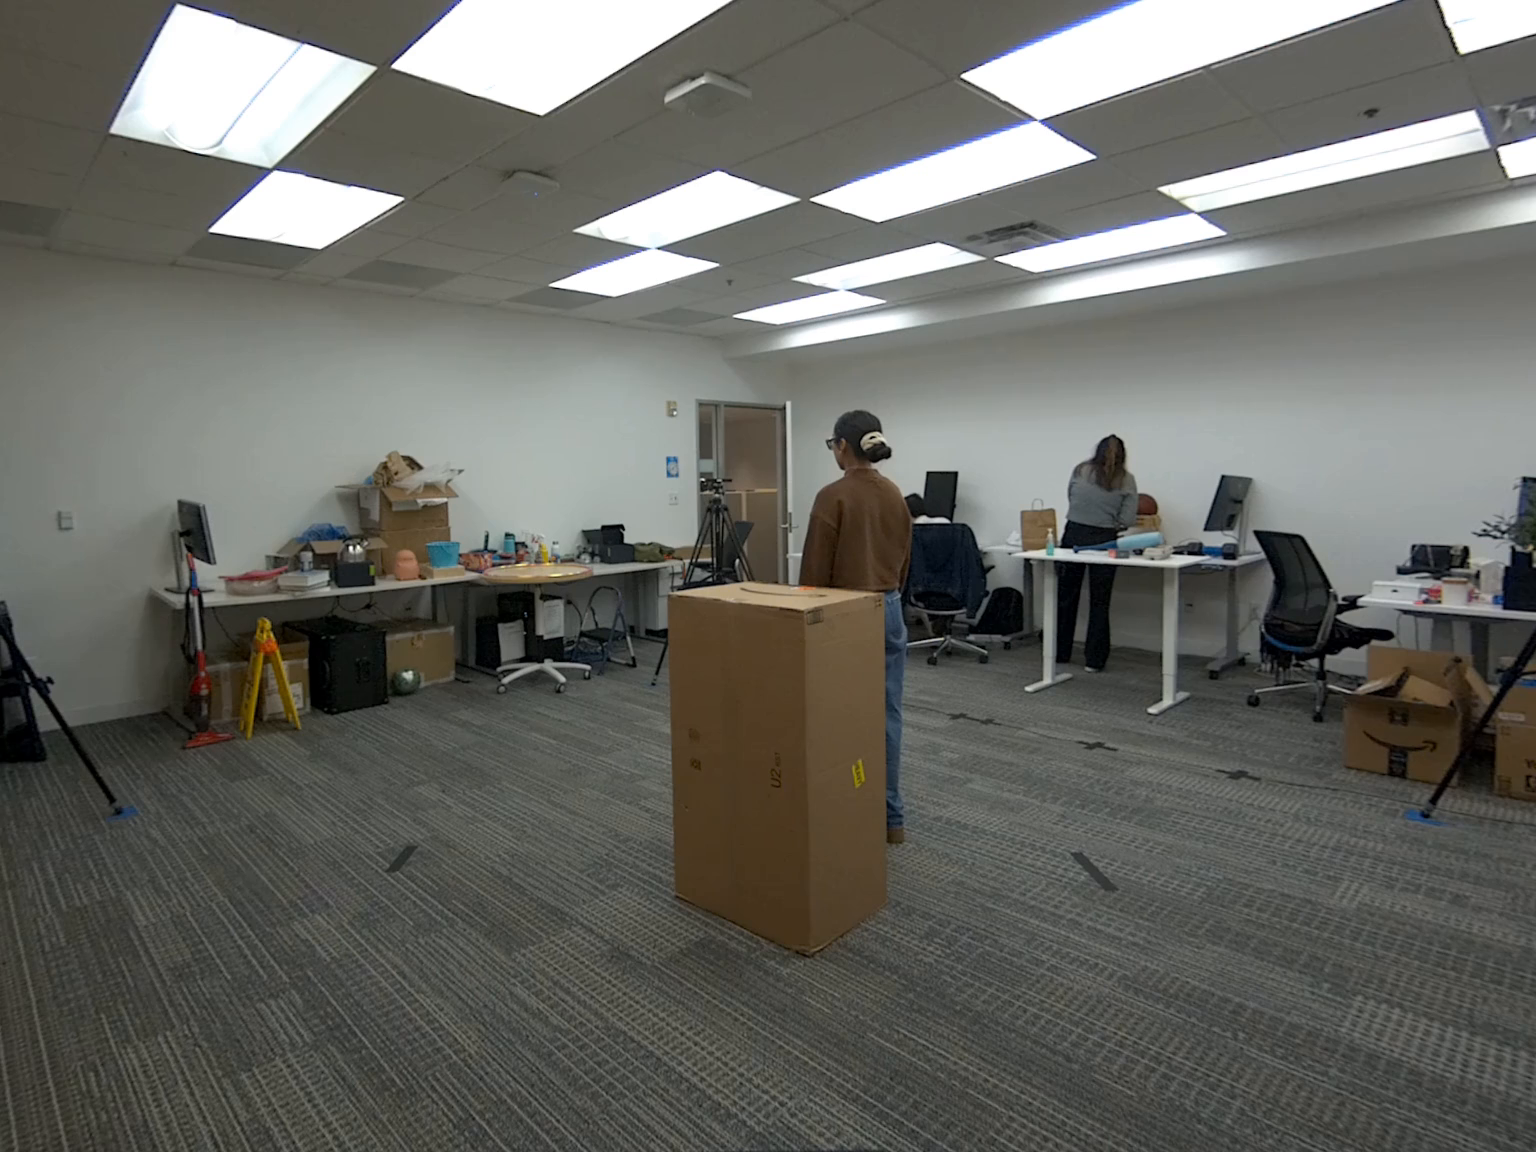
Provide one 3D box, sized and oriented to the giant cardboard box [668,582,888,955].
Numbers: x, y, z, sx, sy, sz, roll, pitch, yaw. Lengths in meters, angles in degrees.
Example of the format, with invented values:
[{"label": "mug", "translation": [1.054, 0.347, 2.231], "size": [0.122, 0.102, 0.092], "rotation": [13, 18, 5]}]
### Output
[{"label": "giant cardboard box", "translation": [0.030, 0.568, 2.806], "size": [0.595, 1.022, 0.415], "rotation": [3, 5, 42]}]
